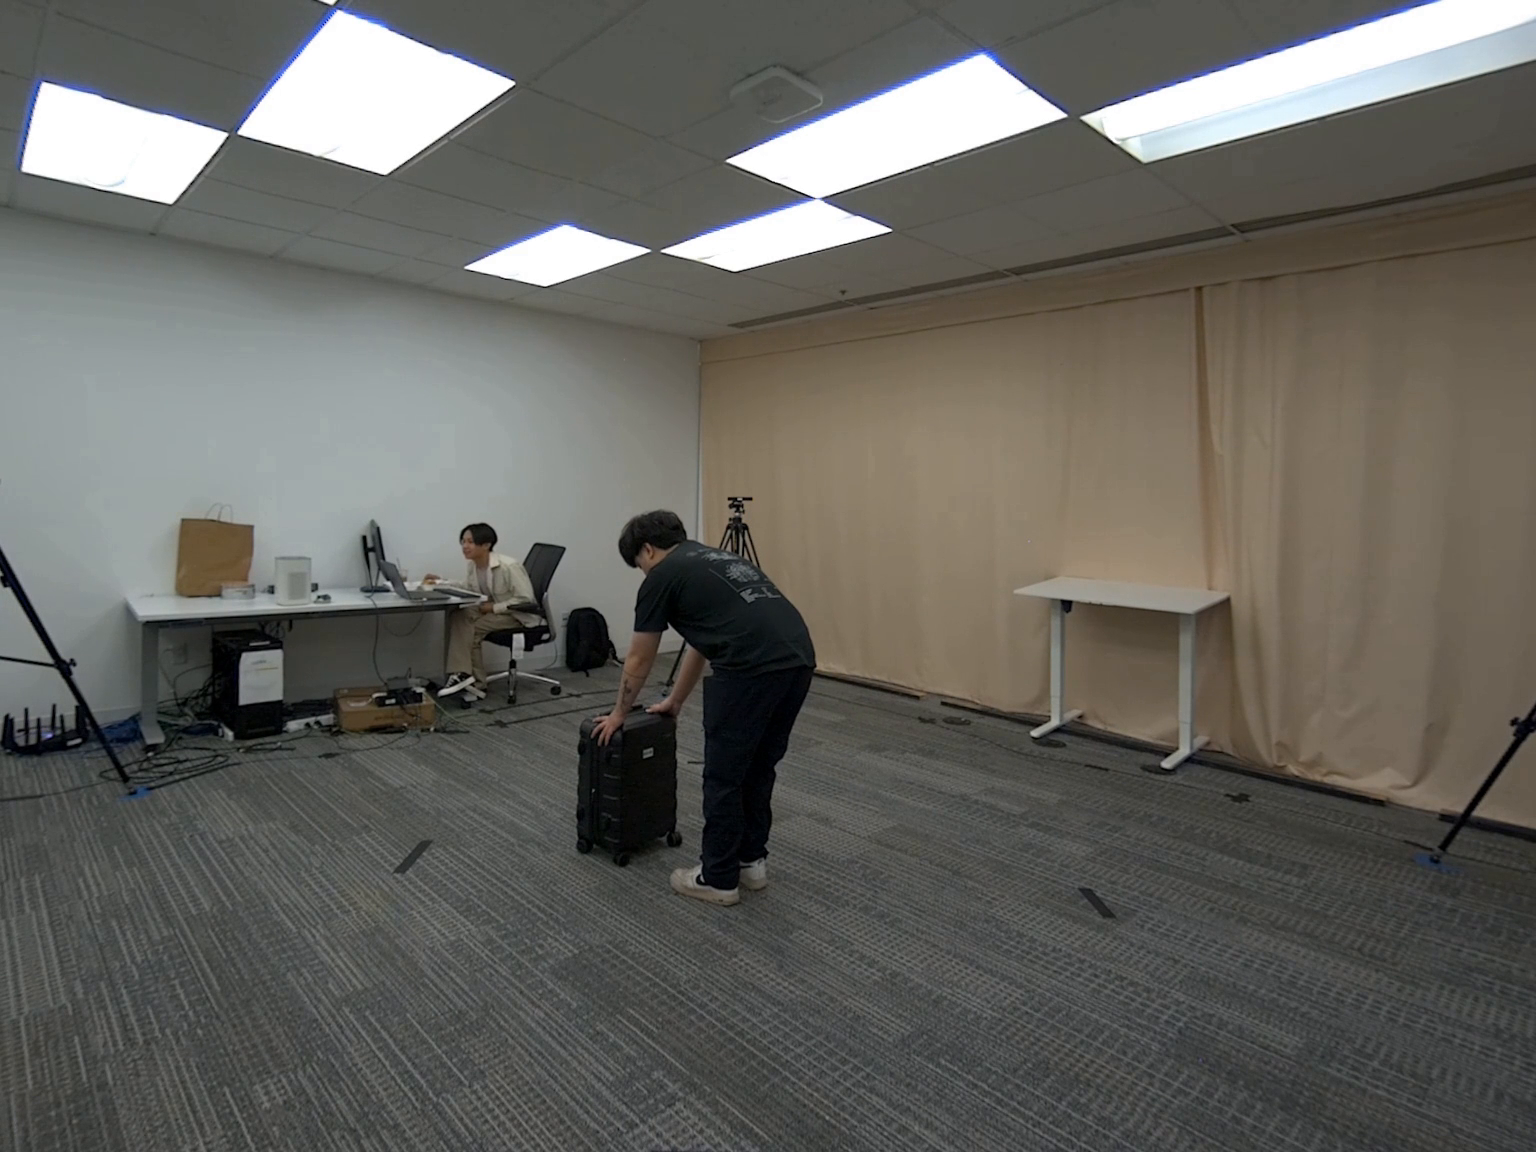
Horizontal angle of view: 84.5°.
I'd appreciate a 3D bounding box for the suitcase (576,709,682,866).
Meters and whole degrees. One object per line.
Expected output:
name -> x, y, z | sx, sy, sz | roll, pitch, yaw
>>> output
suitcase -> -0.563, 0.806, 3.333 | 0.254, 0.548, 0.367 | 3, 3, 38
